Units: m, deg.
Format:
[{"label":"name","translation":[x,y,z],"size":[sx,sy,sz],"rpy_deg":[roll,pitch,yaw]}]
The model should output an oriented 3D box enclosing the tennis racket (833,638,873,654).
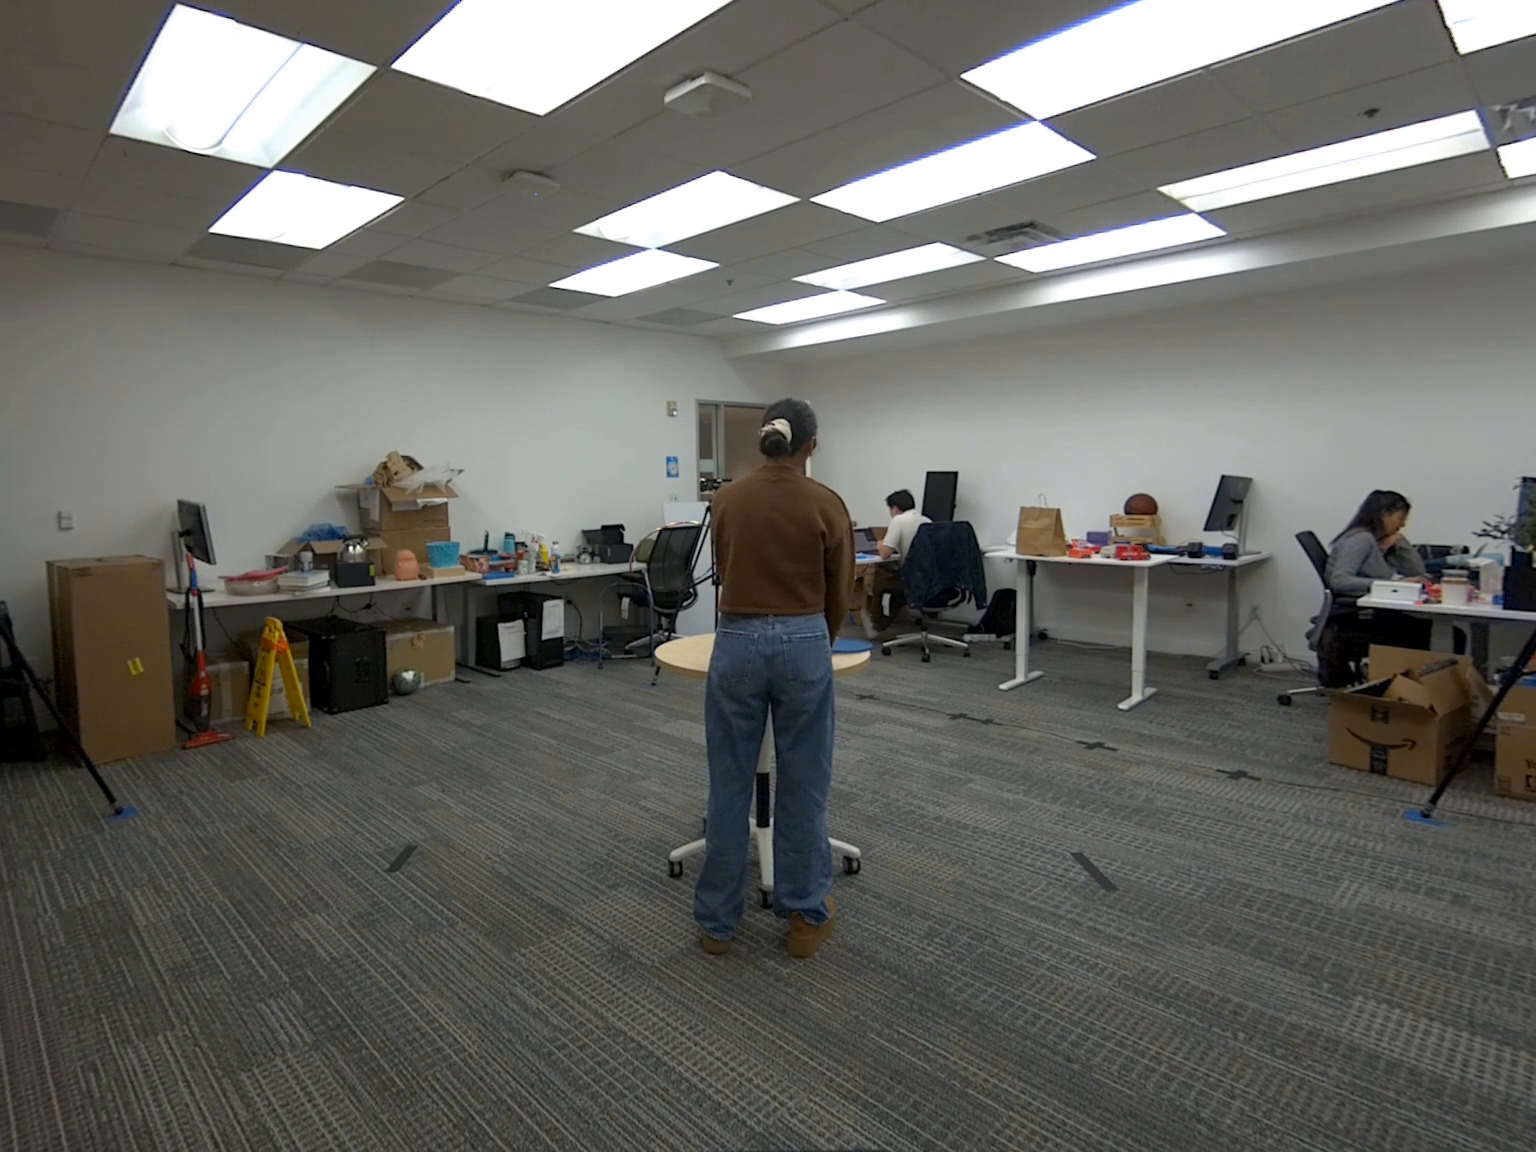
[{"label":"tennis racket","translation":[0.230,0.259,3.018],"size":[0.220,0.031,0.422],"rpy_deg":[5,7,32]}]
